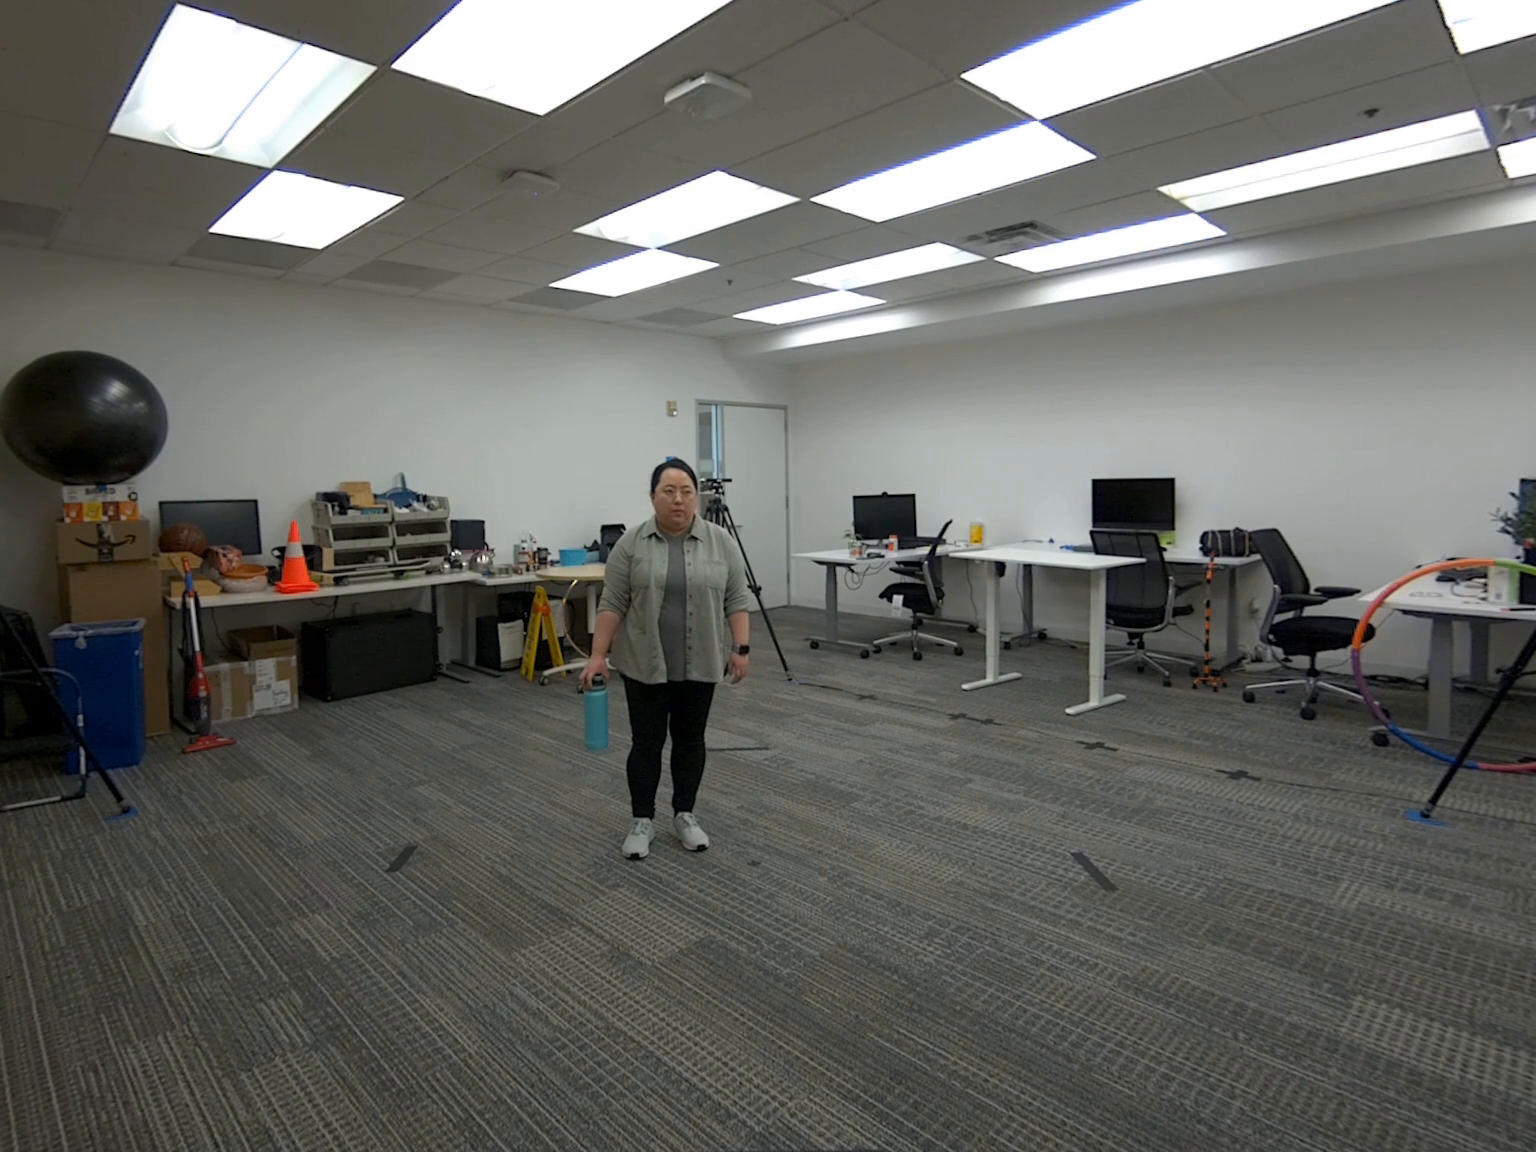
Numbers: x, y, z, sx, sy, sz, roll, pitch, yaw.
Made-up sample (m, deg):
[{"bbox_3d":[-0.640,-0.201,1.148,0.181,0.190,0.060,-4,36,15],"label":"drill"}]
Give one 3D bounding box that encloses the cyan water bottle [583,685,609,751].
[{"bbox_3d":[-0.635,0.501,3.186,0.092,0.281,0.093,0,7,-2],"label":"cyan water bottle"}]
